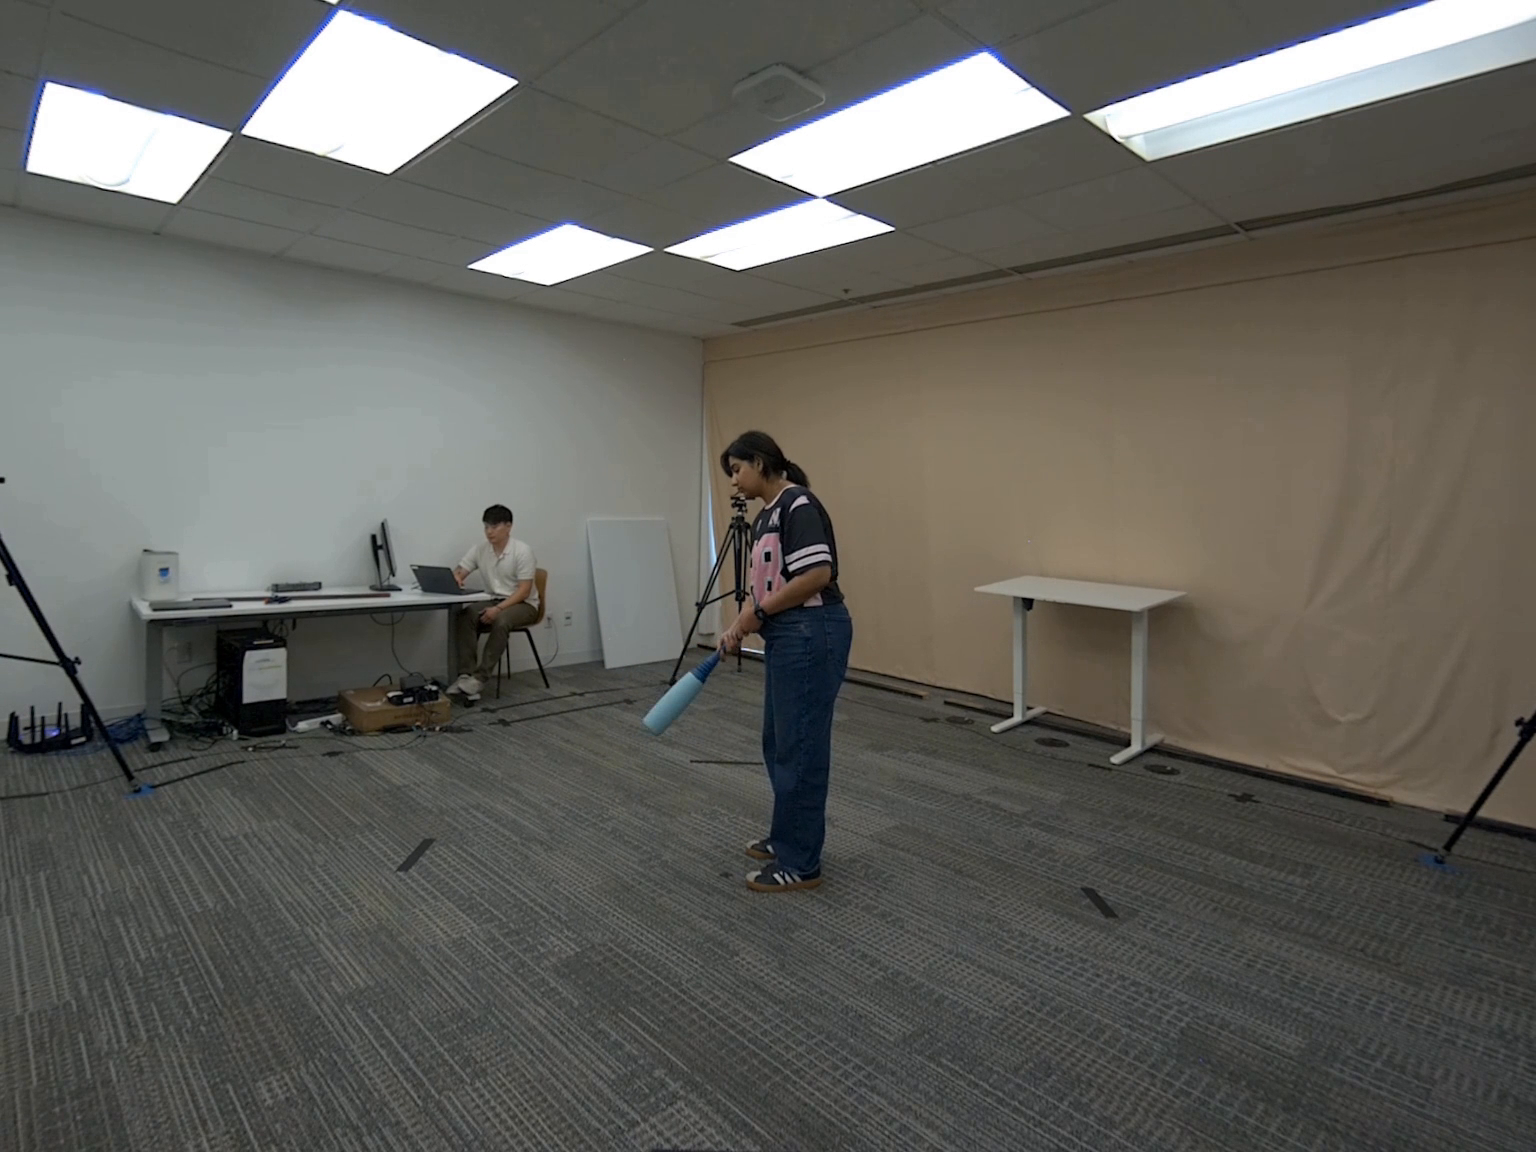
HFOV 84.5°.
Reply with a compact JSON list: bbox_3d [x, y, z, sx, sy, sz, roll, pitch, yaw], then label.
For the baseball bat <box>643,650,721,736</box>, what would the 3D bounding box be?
[{"bbox_3d":[-0.242,0.352,3.031,0.089,0.543,0.088,44,-6,4],"label":"baseball bat"}]
